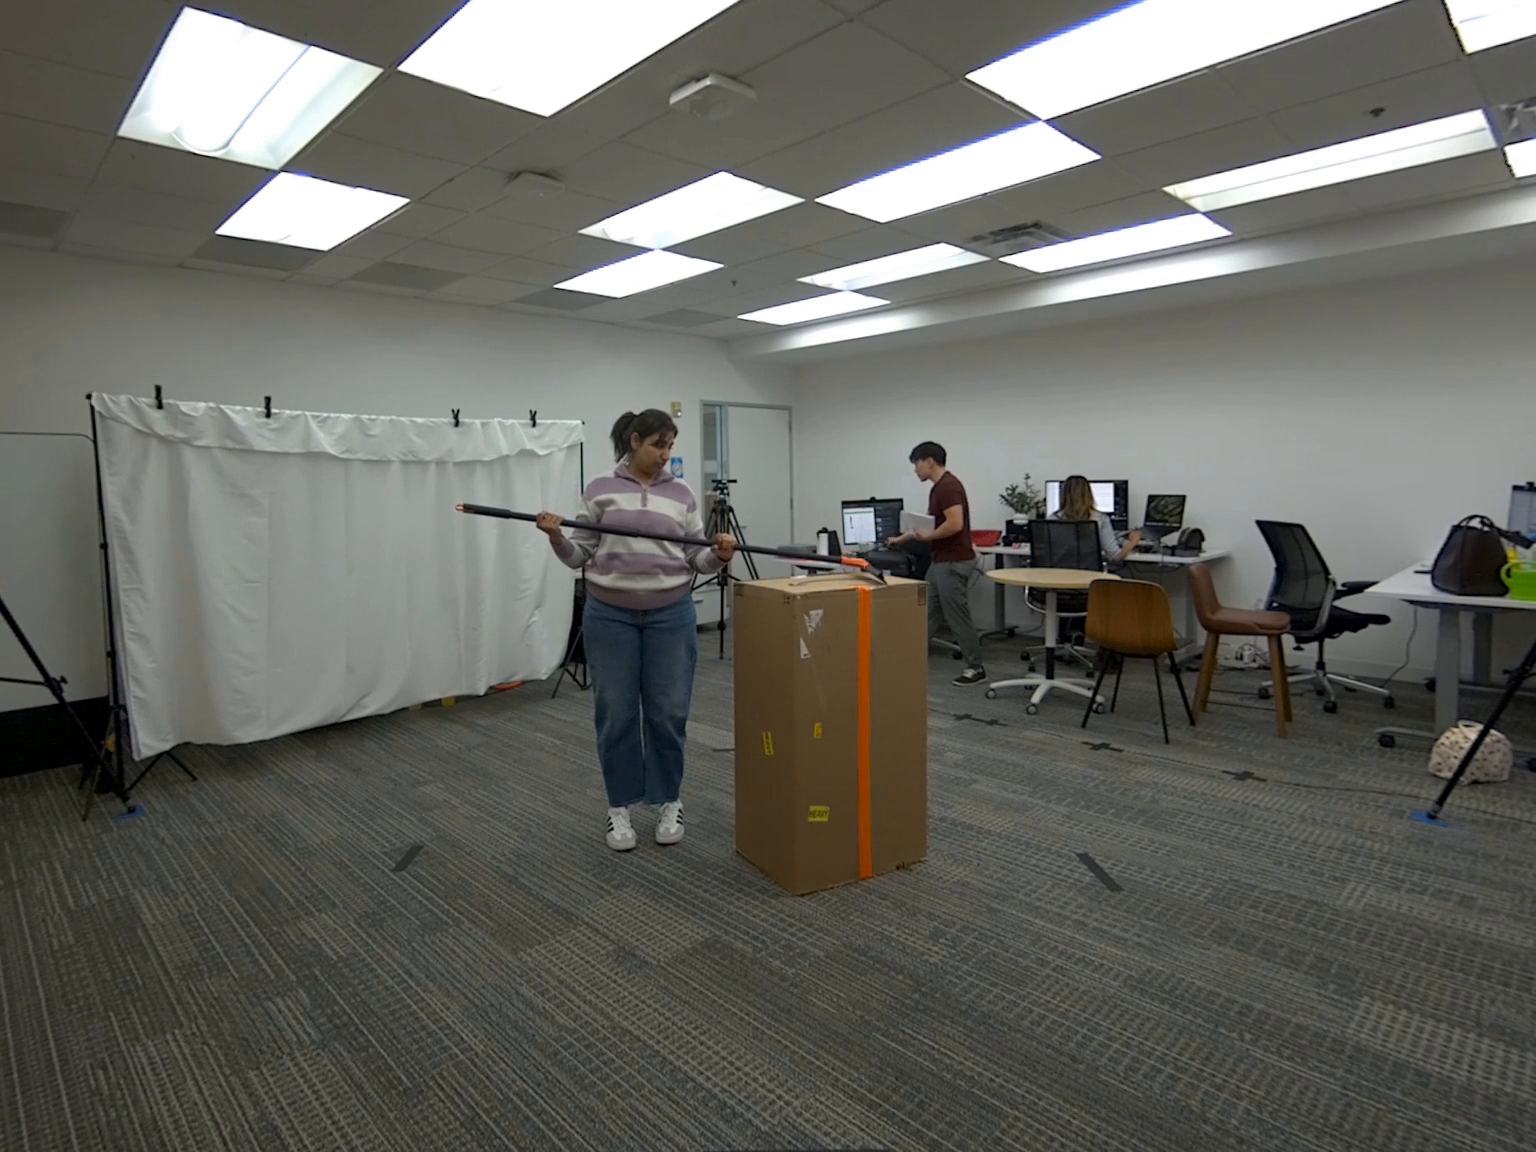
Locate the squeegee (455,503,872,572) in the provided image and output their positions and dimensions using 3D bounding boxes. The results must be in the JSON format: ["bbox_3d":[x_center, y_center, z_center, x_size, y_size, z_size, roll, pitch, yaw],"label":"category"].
[{"bbox_3d":[-0.365,-0.146,3.109,1.530,0.053,0.440,10,2,-4],"label":"squeegee"}]
